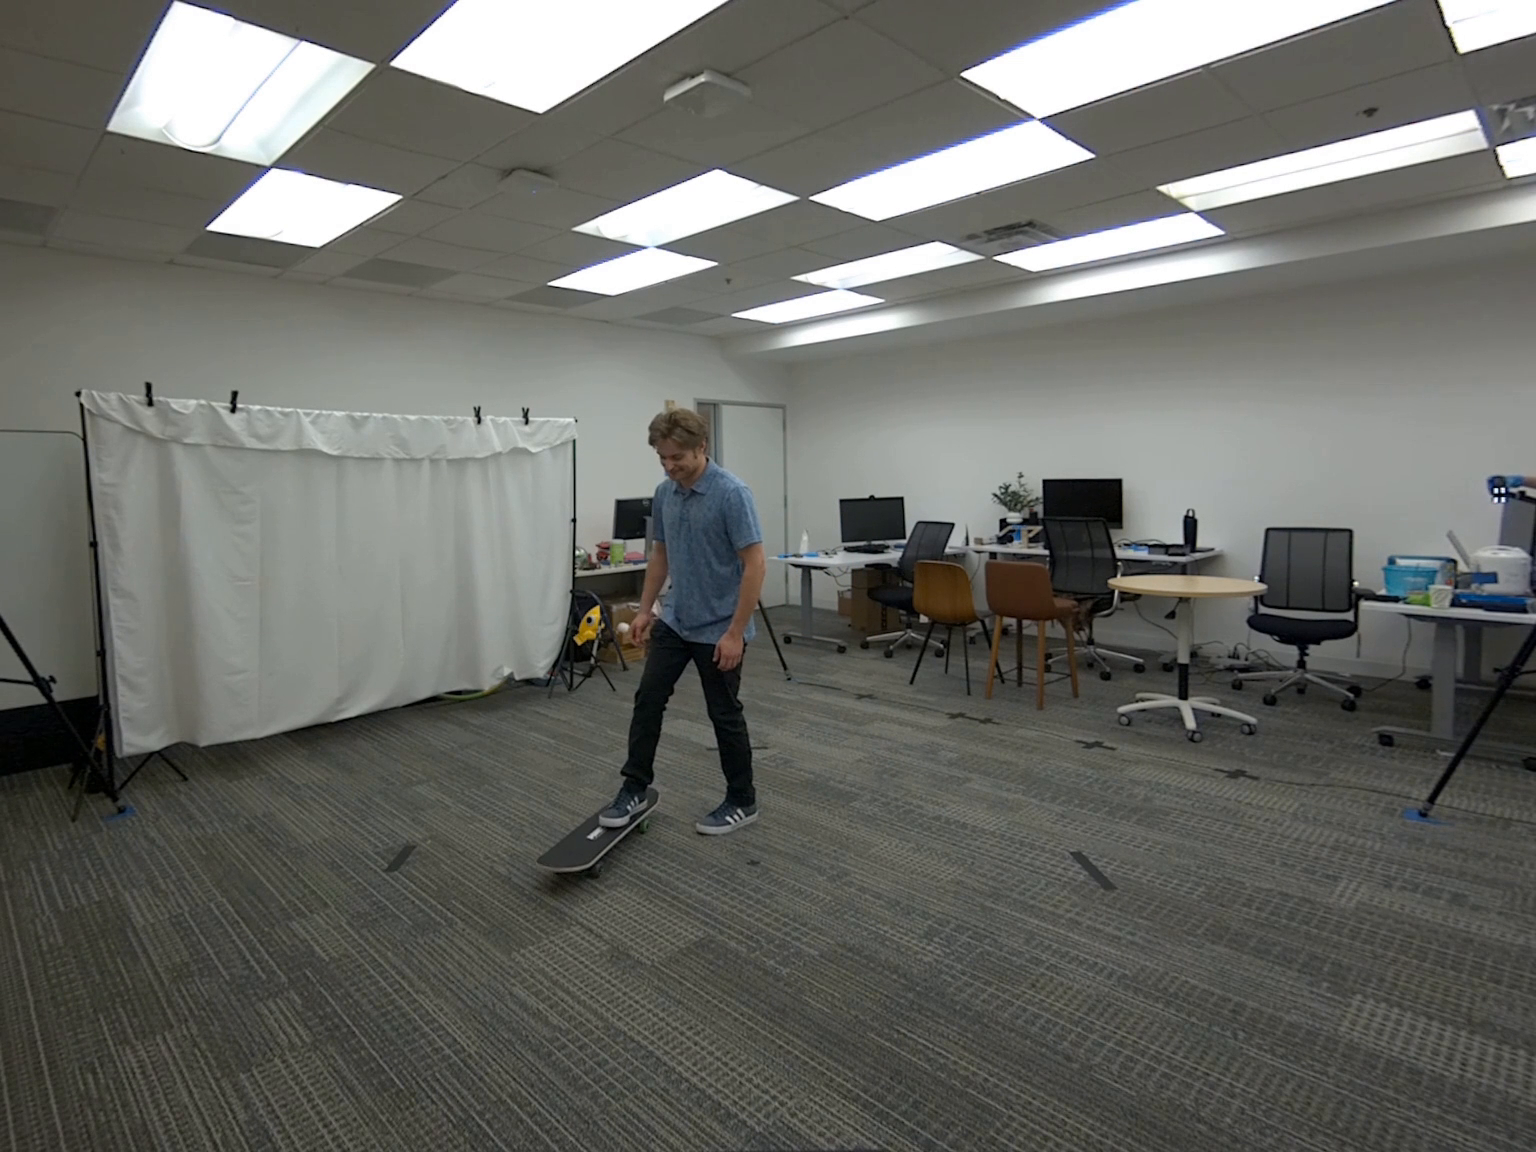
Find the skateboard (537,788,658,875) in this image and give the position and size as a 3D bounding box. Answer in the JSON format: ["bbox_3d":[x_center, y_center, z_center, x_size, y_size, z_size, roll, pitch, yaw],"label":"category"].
[{"bbox_3d":[-0.617,0.981,3.223,0.197,0.110,0.776,1,7,16],"label":"skateboard"}]
